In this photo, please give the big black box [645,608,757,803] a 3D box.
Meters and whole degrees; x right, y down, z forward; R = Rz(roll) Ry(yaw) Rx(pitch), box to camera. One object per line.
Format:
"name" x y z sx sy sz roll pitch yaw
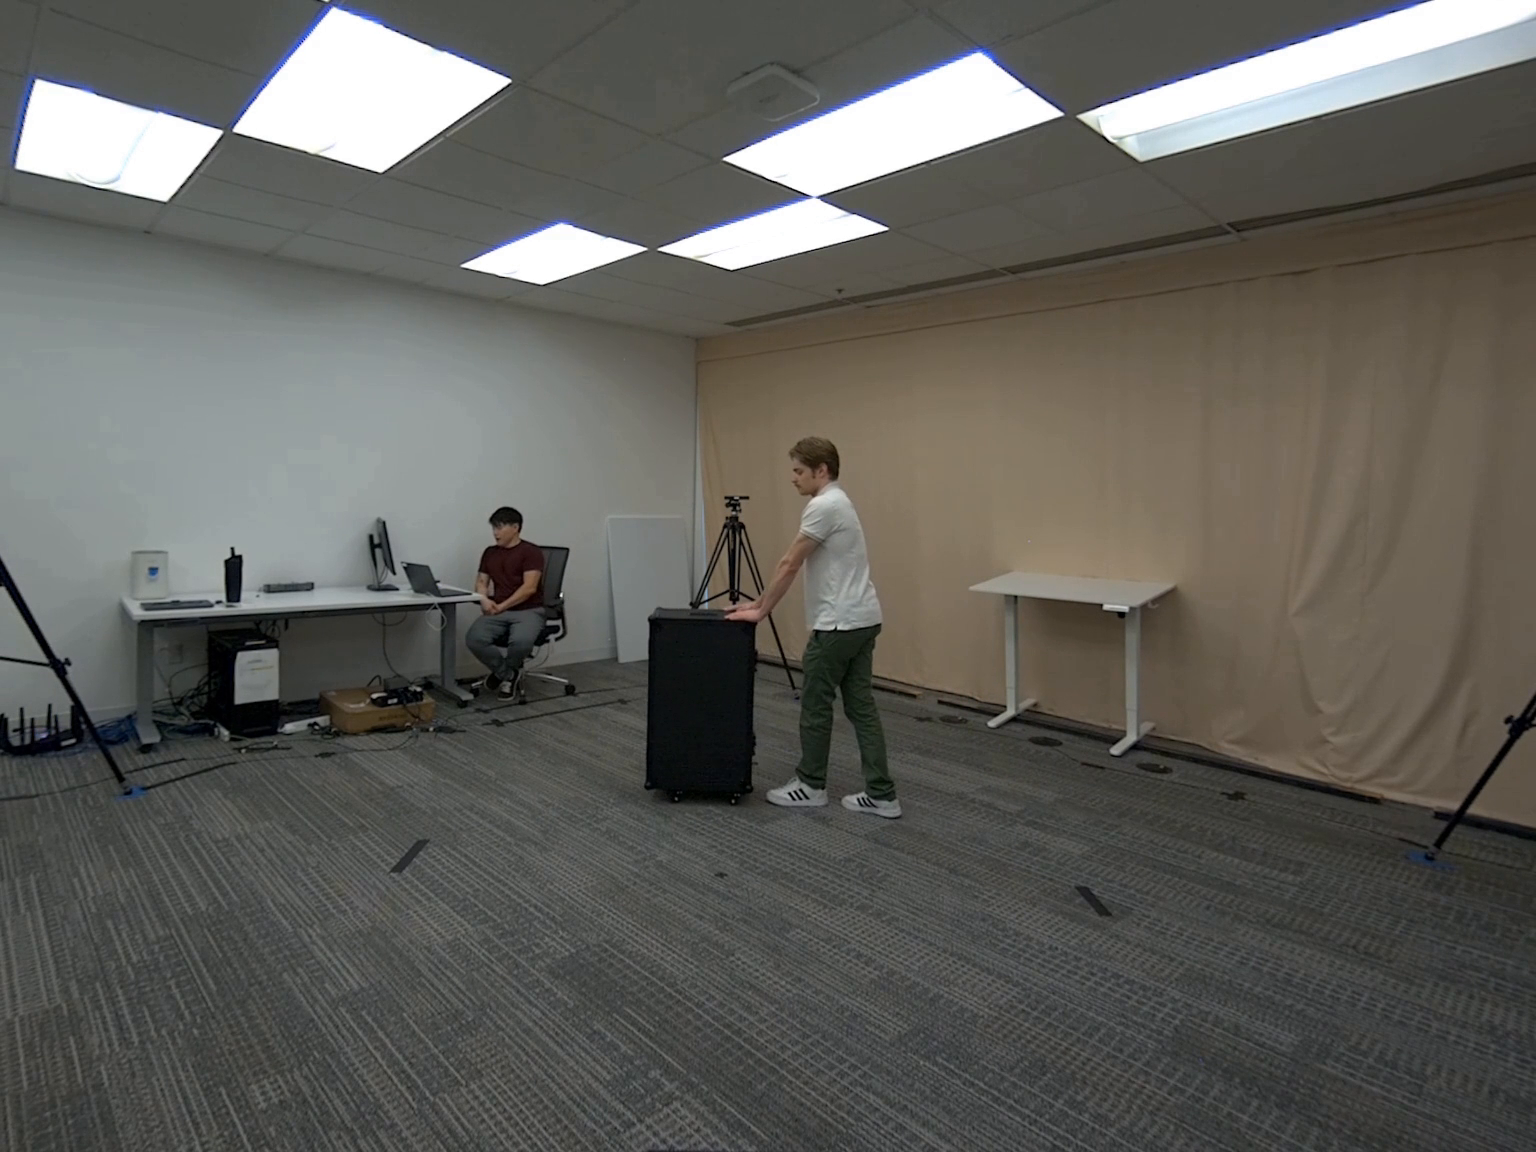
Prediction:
"big black box" -0.323 0.604 3.954 0.523 0.866 0.386 2 3 -2
